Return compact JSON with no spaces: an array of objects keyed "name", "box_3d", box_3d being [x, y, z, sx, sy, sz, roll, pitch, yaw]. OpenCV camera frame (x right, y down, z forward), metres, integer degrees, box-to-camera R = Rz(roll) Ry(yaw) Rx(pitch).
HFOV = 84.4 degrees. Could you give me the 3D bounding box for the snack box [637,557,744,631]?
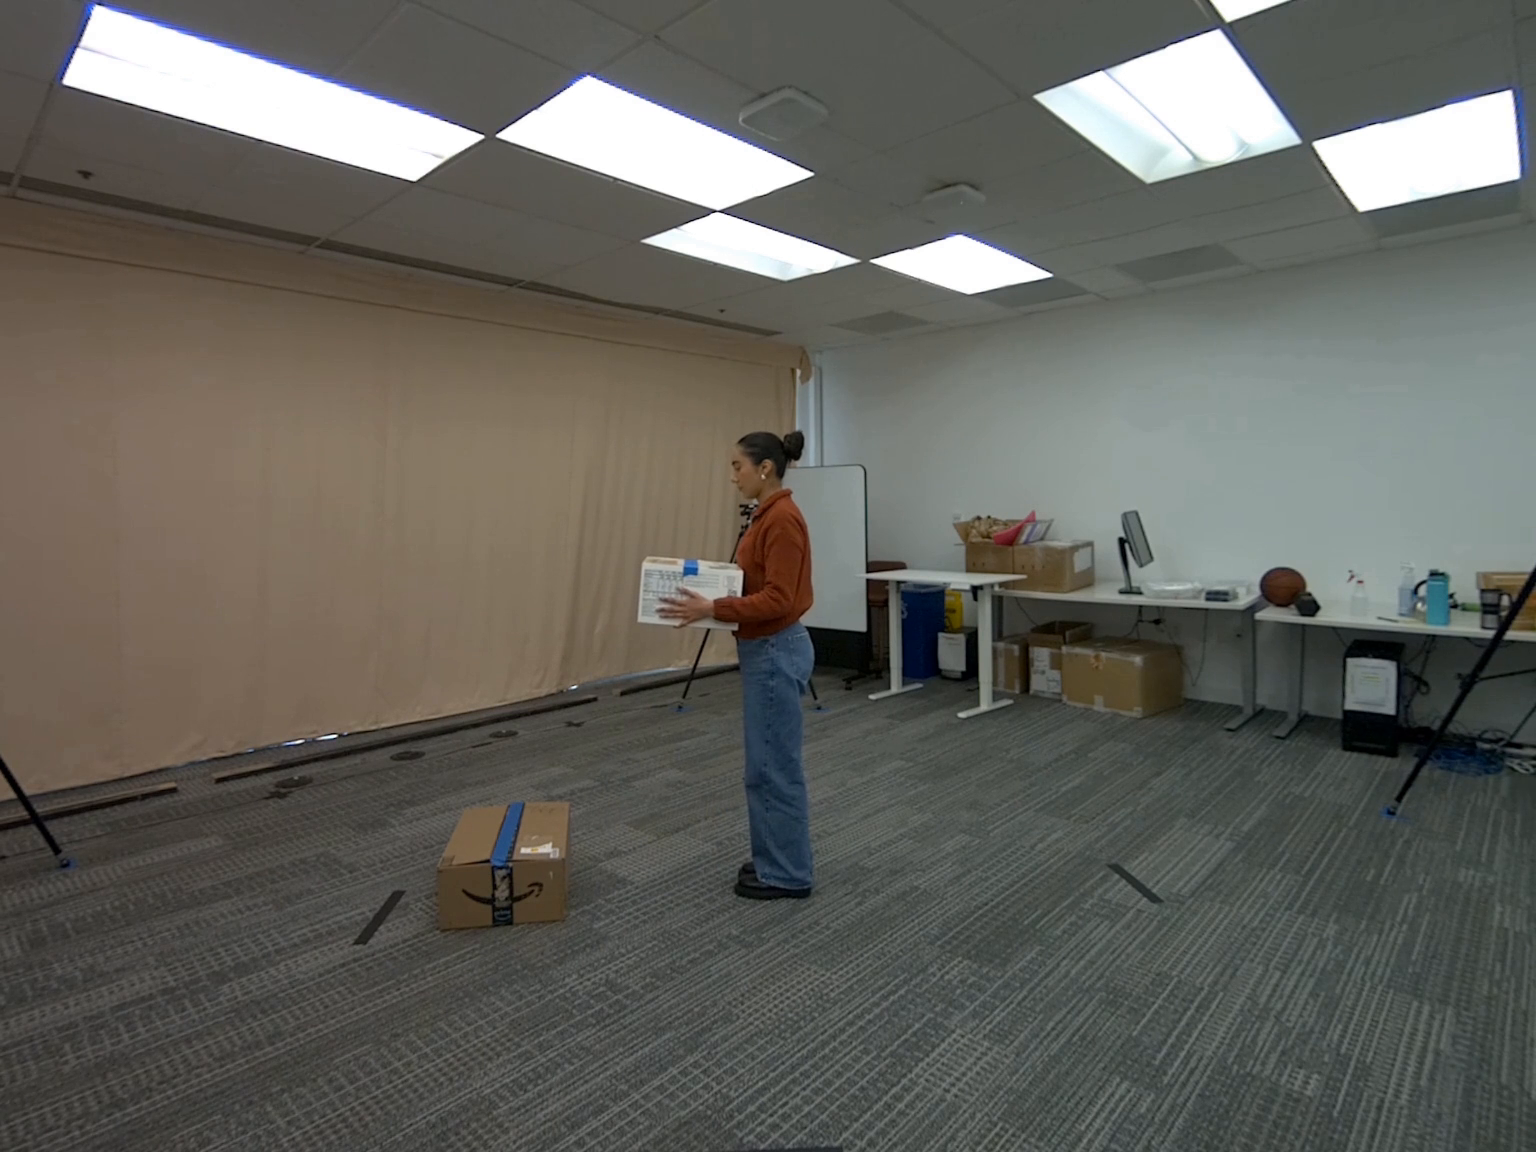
[{"name":"snack box","box_3d":[-0.272,0.057,3.004,0.339,0.205,0.407,5,4,-4]}]
